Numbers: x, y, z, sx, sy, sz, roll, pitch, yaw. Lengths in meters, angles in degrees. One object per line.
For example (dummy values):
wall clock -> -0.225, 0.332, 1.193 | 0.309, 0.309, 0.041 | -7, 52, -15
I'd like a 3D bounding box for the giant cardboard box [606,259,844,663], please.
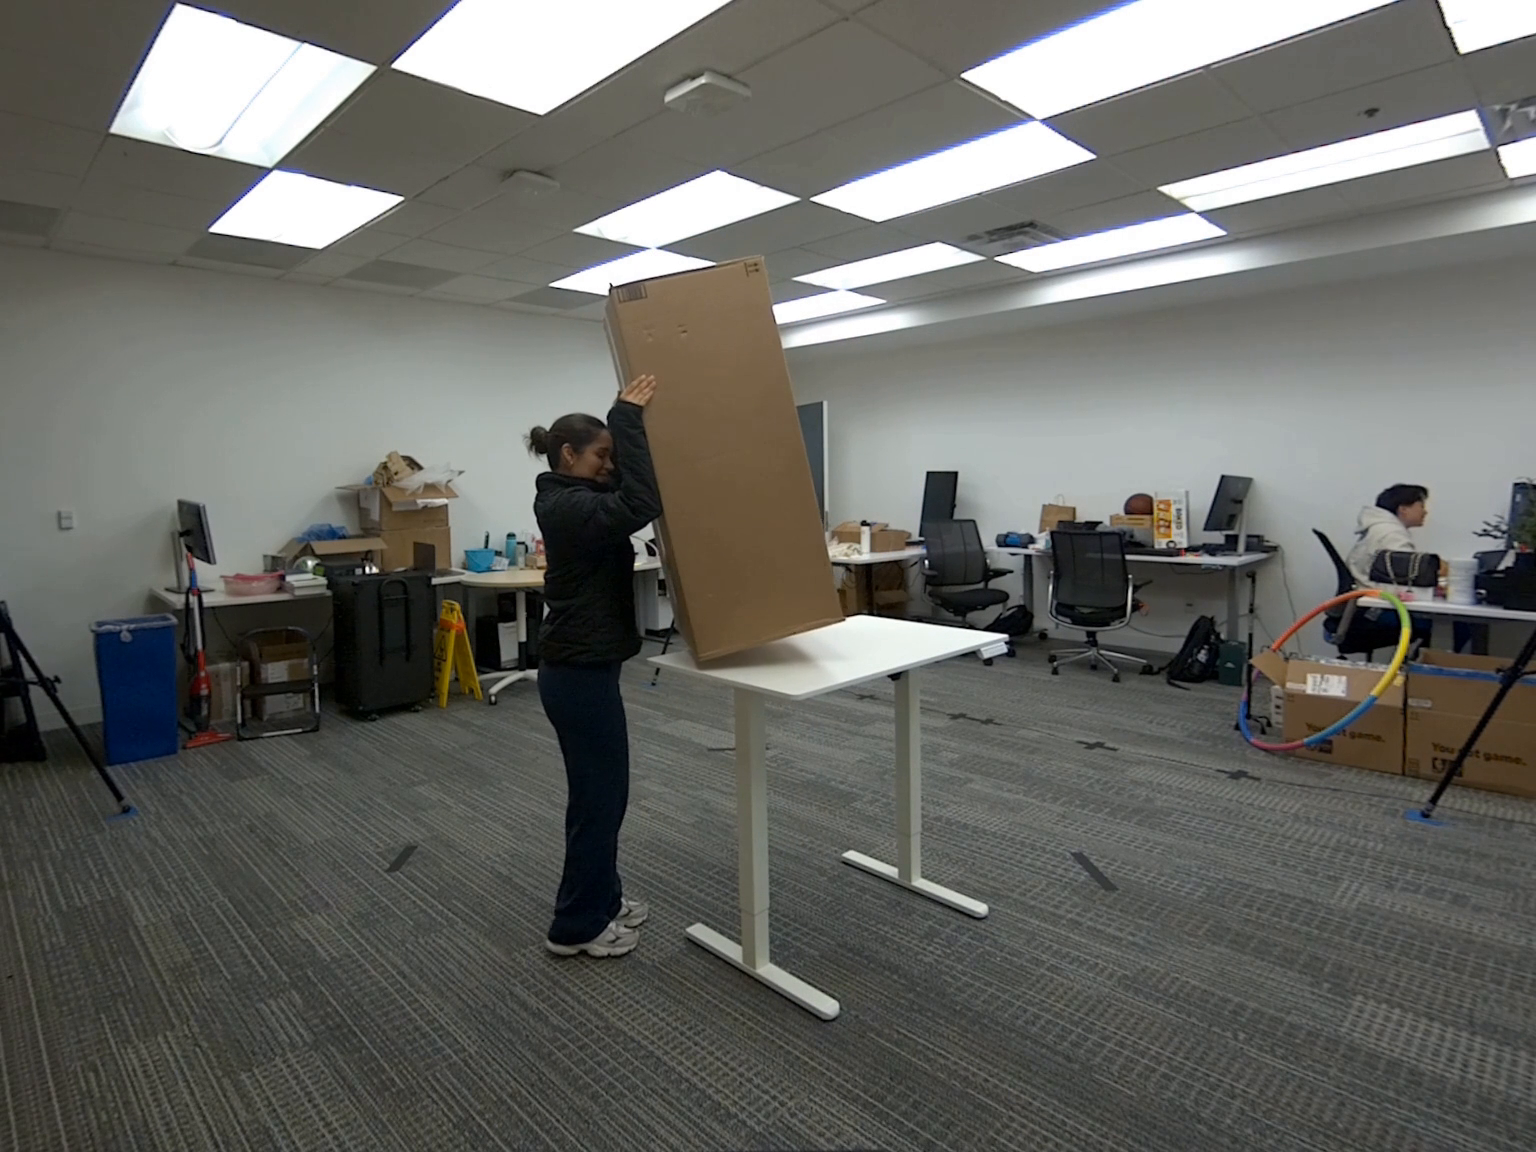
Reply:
giant cardboard box -> -0.157, -0.344, 2.578 | 0.444, 1.021, 0.591 | -13, 6, -10
